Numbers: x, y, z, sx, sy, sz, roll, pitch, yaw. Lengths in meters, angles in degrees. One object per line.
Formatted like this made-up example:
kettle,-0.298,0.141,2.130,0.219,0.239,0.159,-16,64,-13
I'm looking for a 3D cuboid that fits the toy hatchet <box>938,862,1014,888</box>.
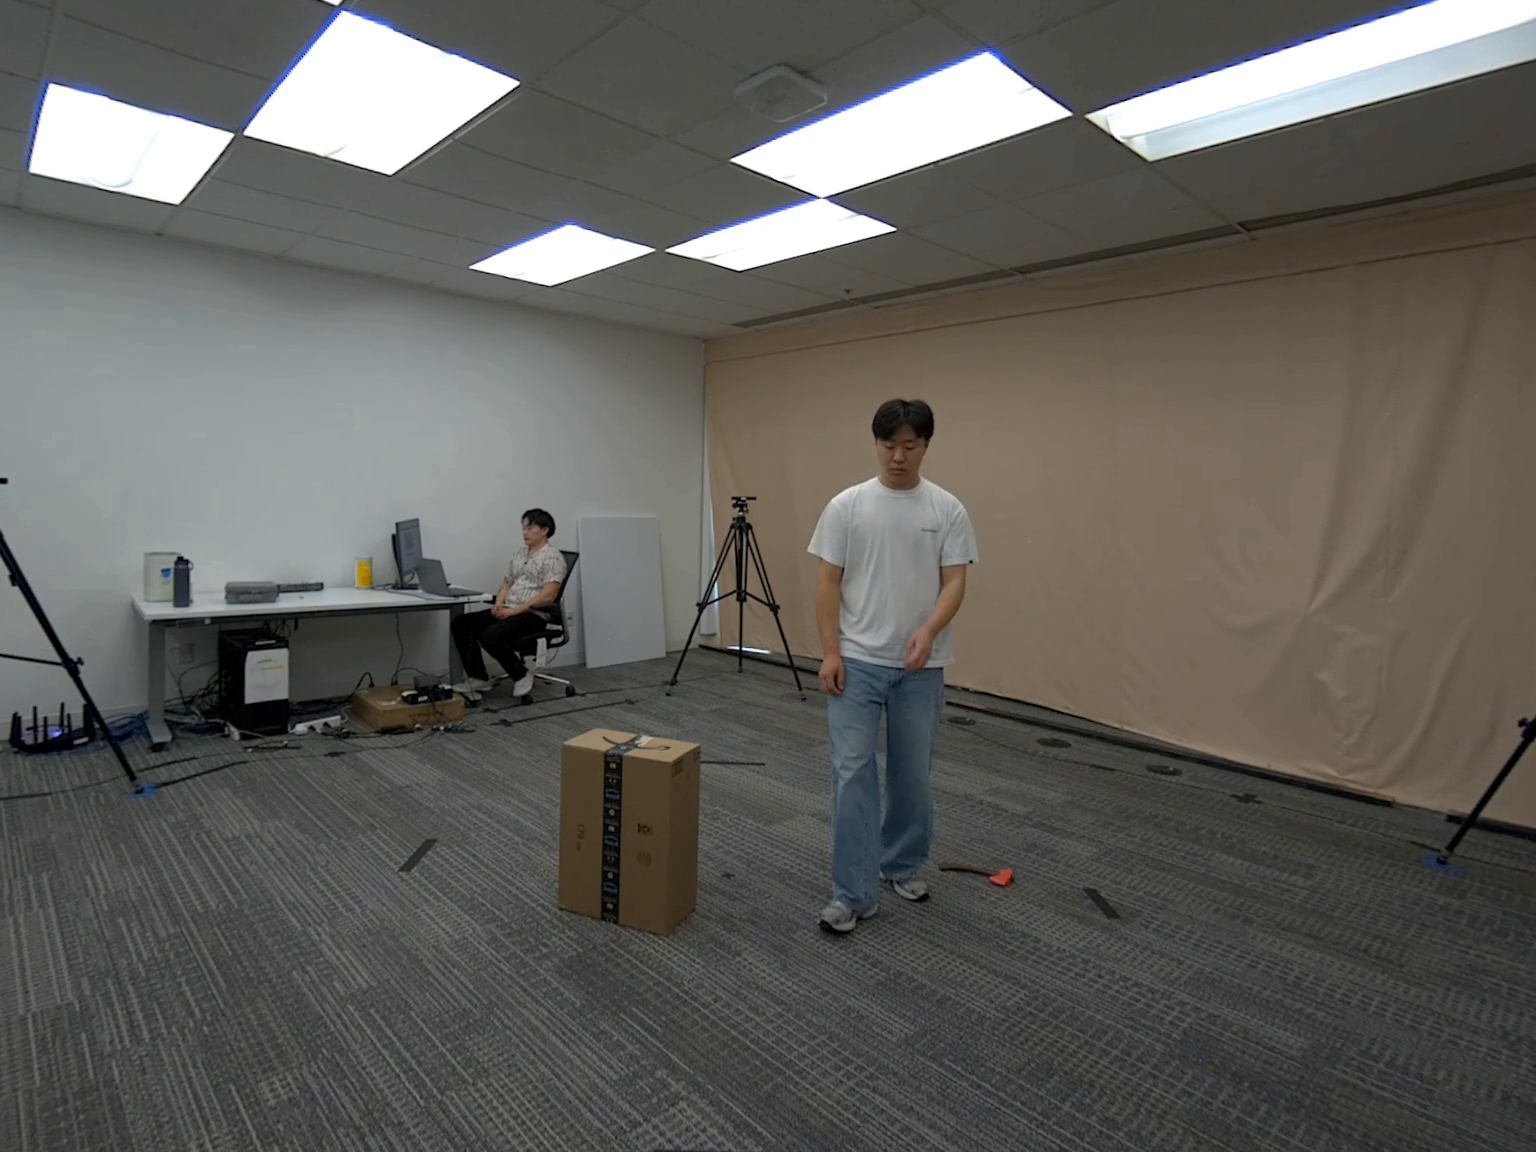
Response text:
toy hatchet,0.773,1.114,3.143,0.272,0.029,0.131,0,10,9
